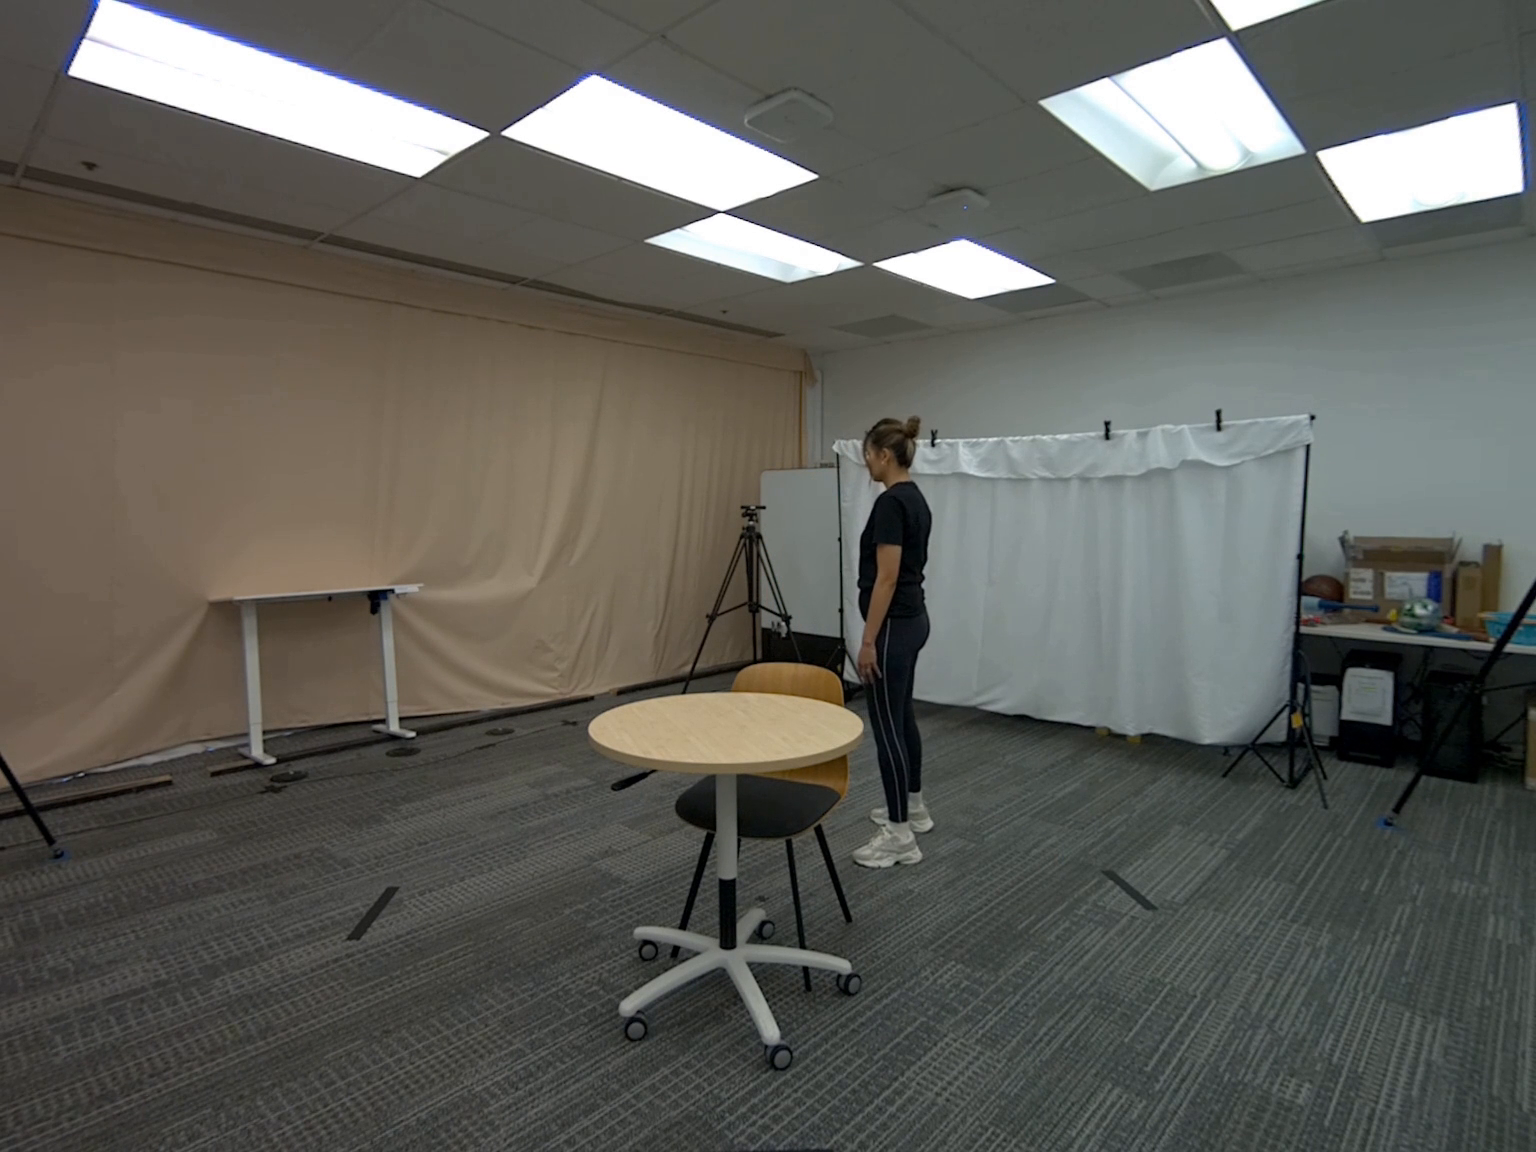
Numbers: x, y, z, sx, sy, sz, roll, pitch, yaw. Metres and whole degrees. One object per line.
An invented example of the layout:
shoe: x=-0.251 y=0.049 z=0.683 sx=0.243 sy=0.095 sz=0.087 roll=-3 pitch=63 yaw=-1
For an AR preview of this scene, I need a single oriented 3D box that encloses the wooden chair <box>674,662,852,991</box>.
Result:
wooden chair: x=-0.005 y=0.741 z=2.673 sx=0.490 sy=0.877 sz=0.510 roll=2 pitch=0 yaw=24
